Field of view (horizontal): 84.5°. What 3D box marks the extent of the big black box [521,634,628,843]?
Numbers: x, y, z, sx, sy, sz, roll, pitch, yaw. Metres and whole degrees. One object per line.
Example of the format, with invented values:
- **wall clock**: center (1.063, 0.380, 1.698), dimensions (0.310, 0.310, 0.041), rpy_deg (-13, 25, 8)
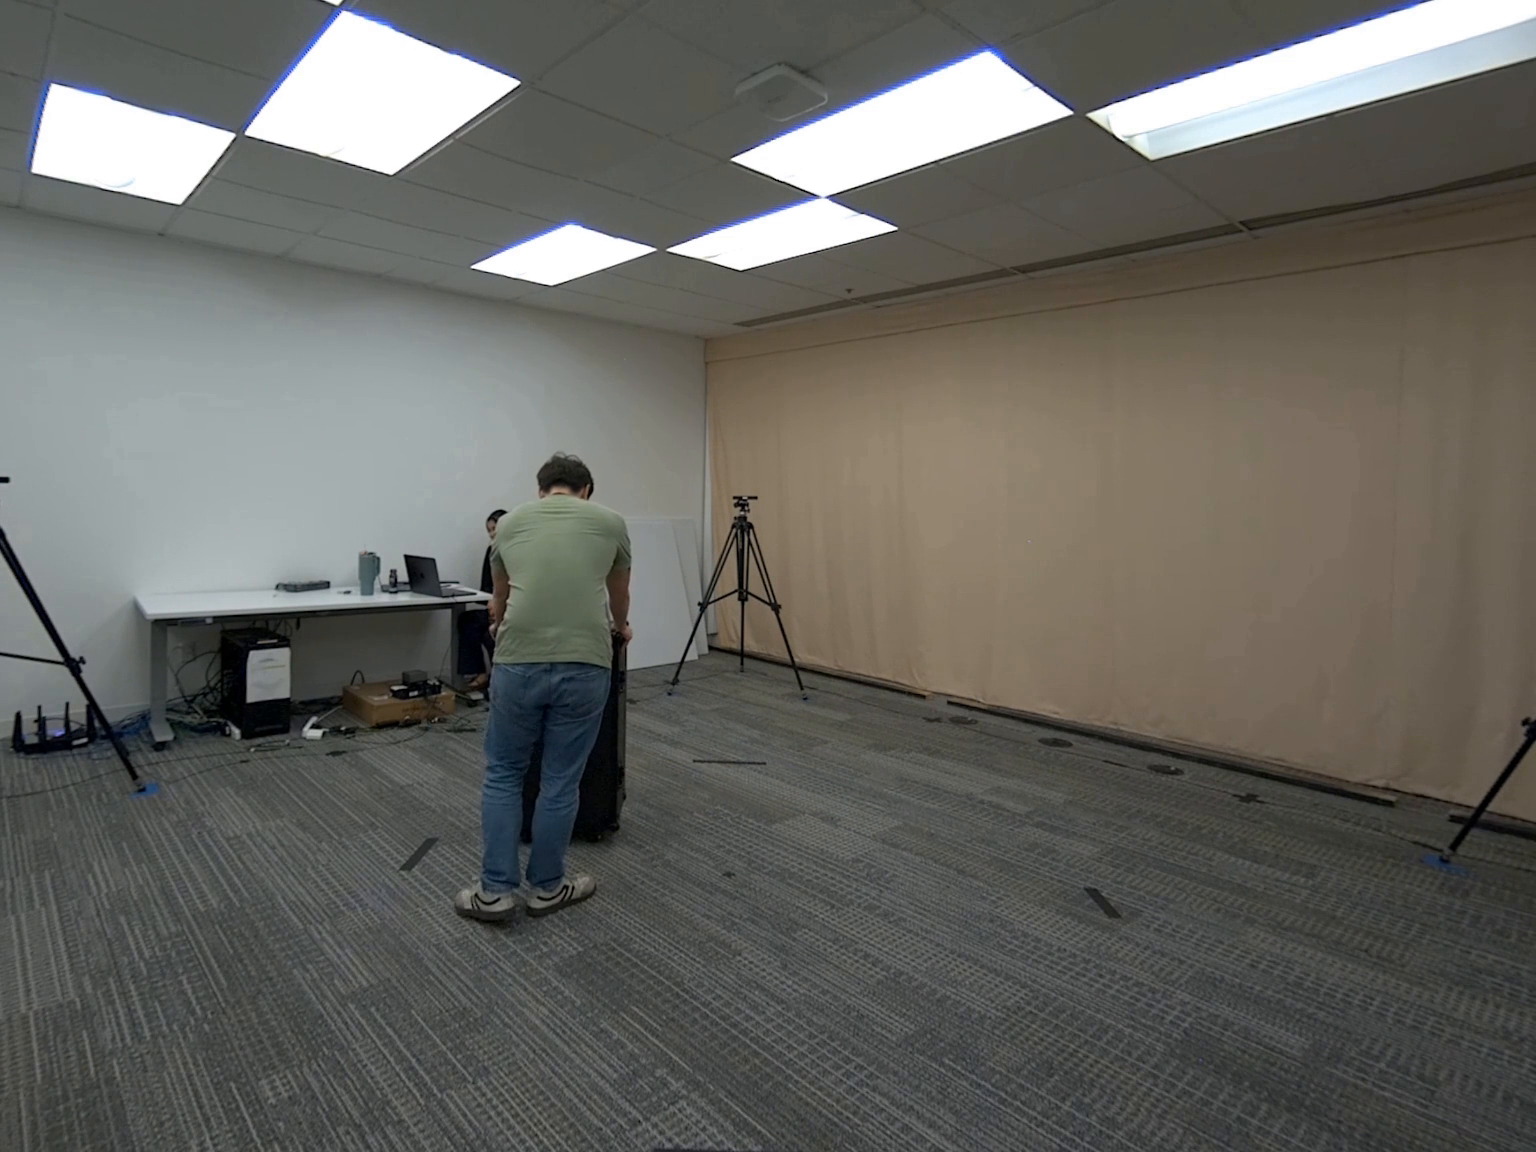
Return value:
- **big black box**: center (-0.851, 0.634, 3.470), dimensions (0.520, 0.860, 0.398), rpy_deg (1, 2, -3)
